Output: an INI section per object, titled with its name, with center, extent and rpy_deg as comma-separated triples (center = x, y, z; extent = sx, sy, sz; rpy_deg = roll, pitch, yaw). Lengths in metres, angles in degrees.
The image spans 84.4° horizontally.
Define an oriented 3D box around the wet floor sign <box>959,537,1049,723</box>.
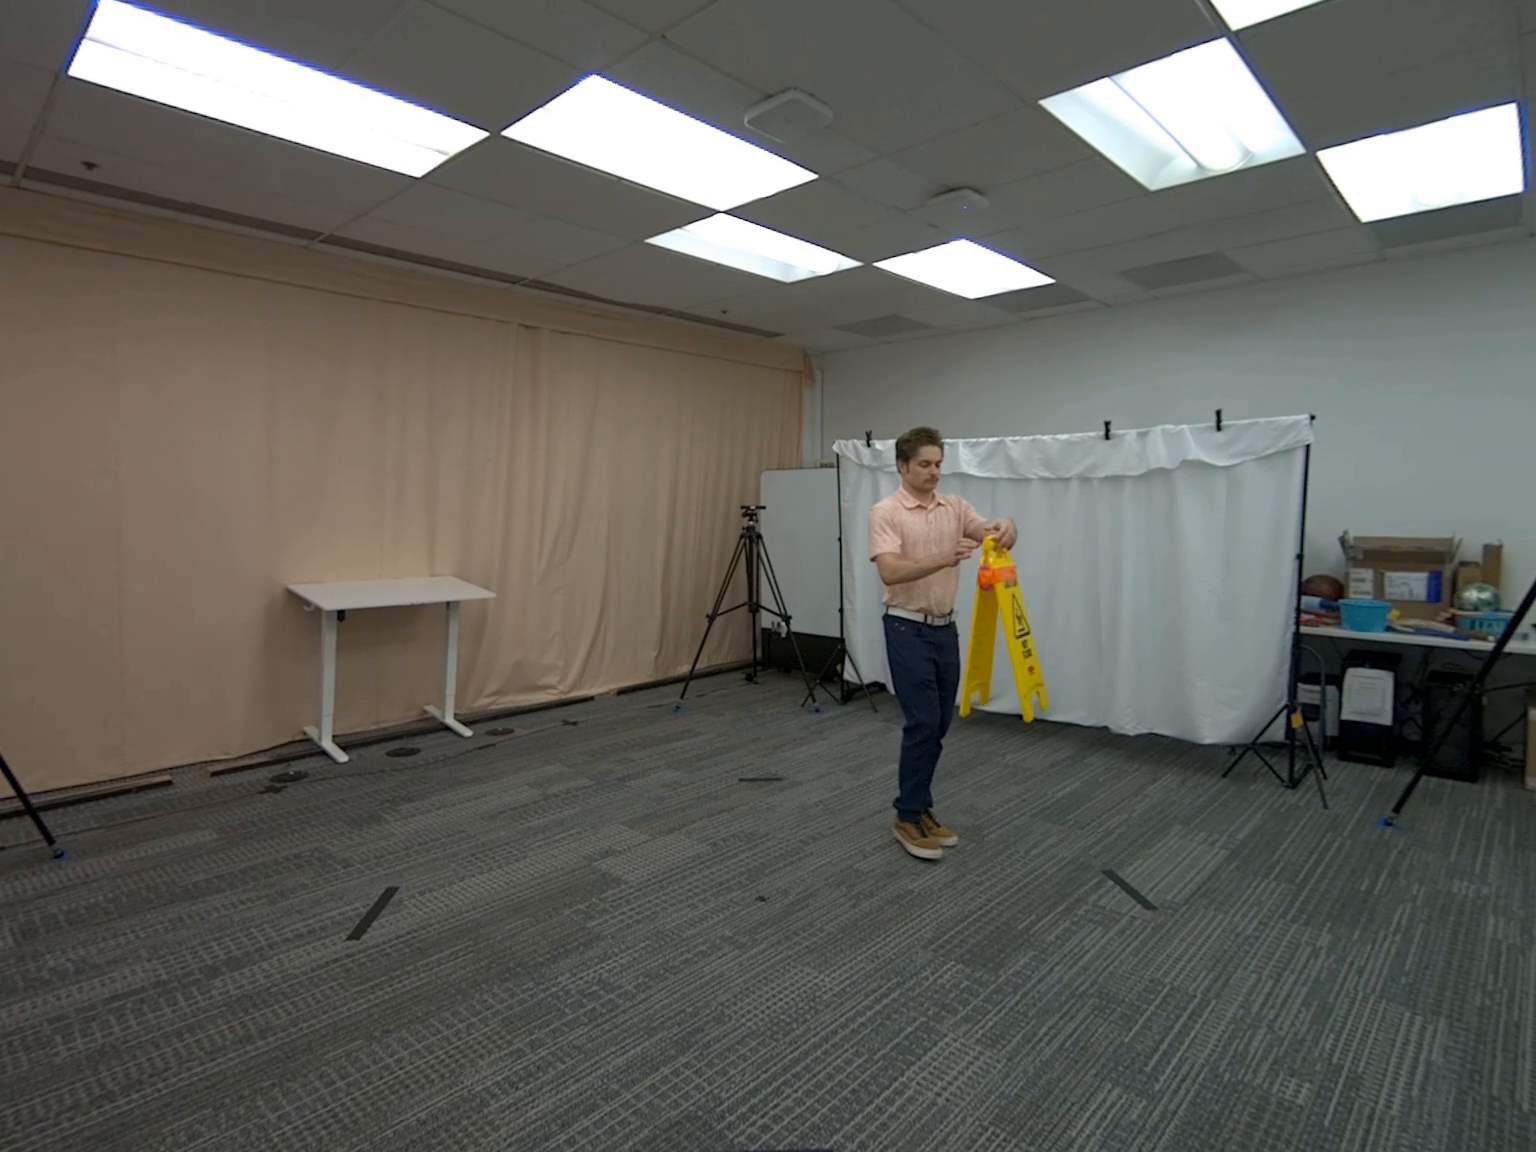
[wet floor sign]
center = 0.855, 0.178, 3.098
extent = 0.298, 0.645, 0.274
rpy_deg = -2, 3, 35
